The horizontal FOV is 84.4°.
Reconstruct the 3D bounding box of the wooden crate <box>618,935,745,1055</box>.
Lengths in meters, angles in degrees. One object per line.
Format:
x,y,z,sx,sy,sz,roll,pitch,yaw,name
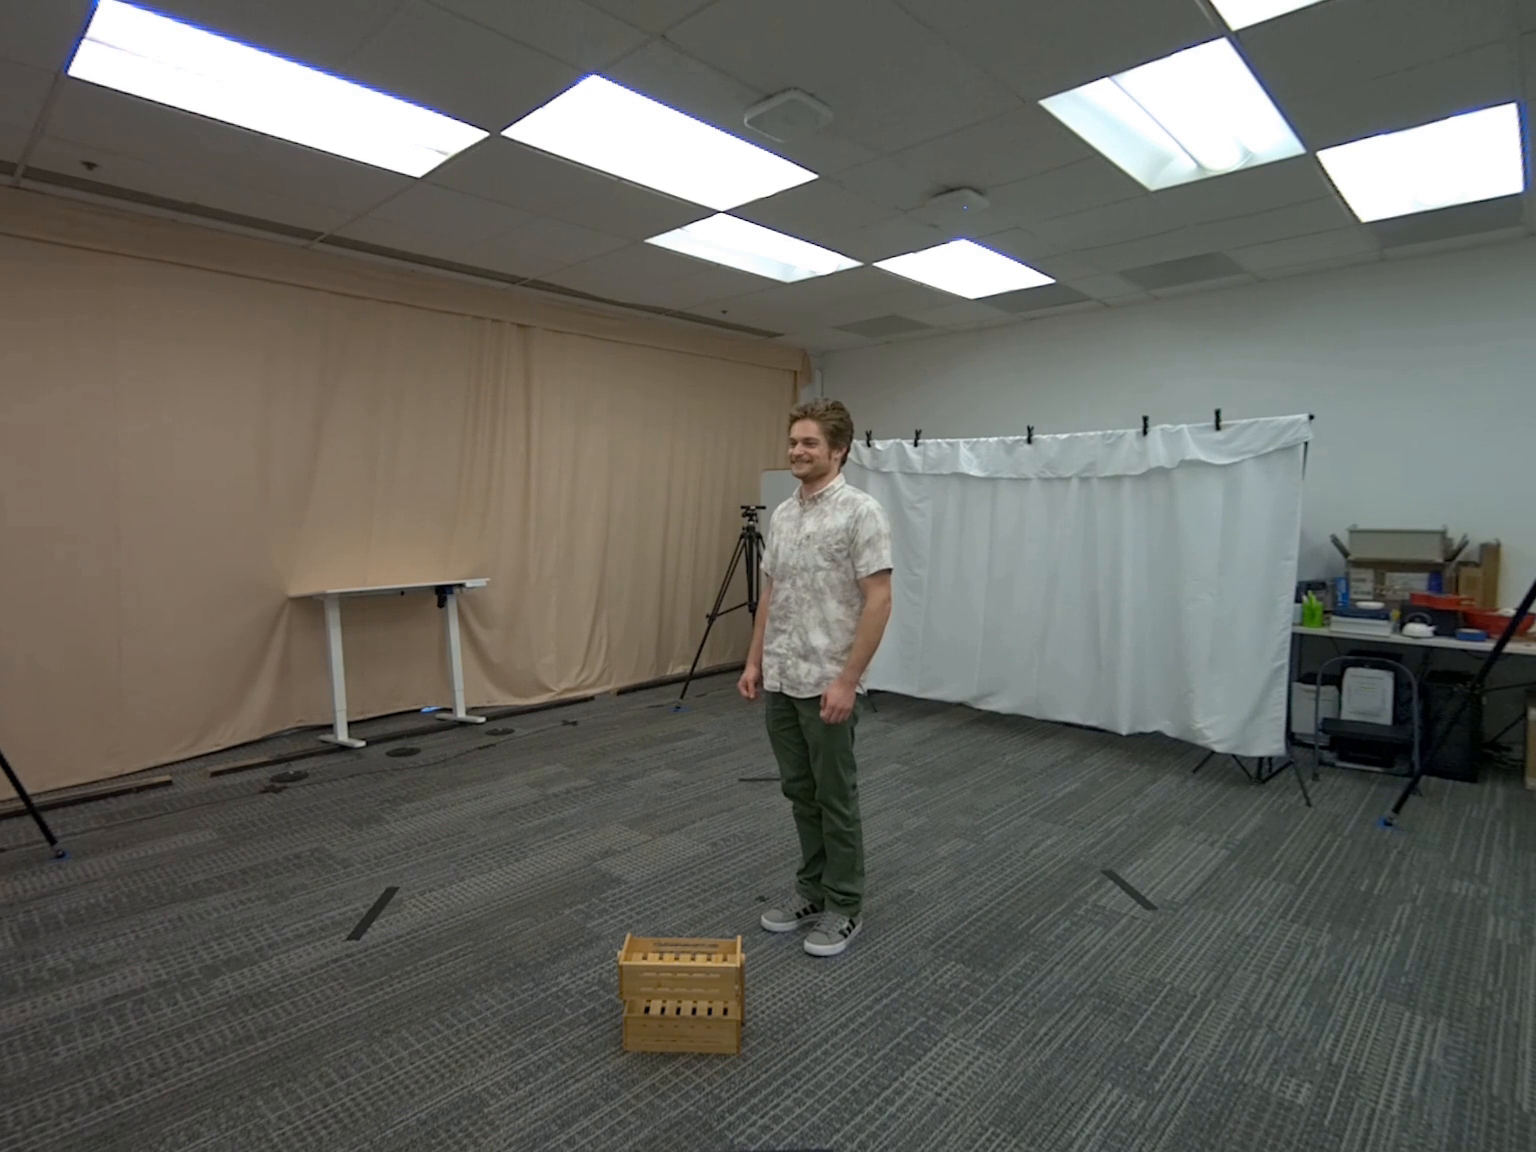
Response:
-0.222,1.075,2.234,0.325,0.272,0.302,0,4,0,wooden crate
